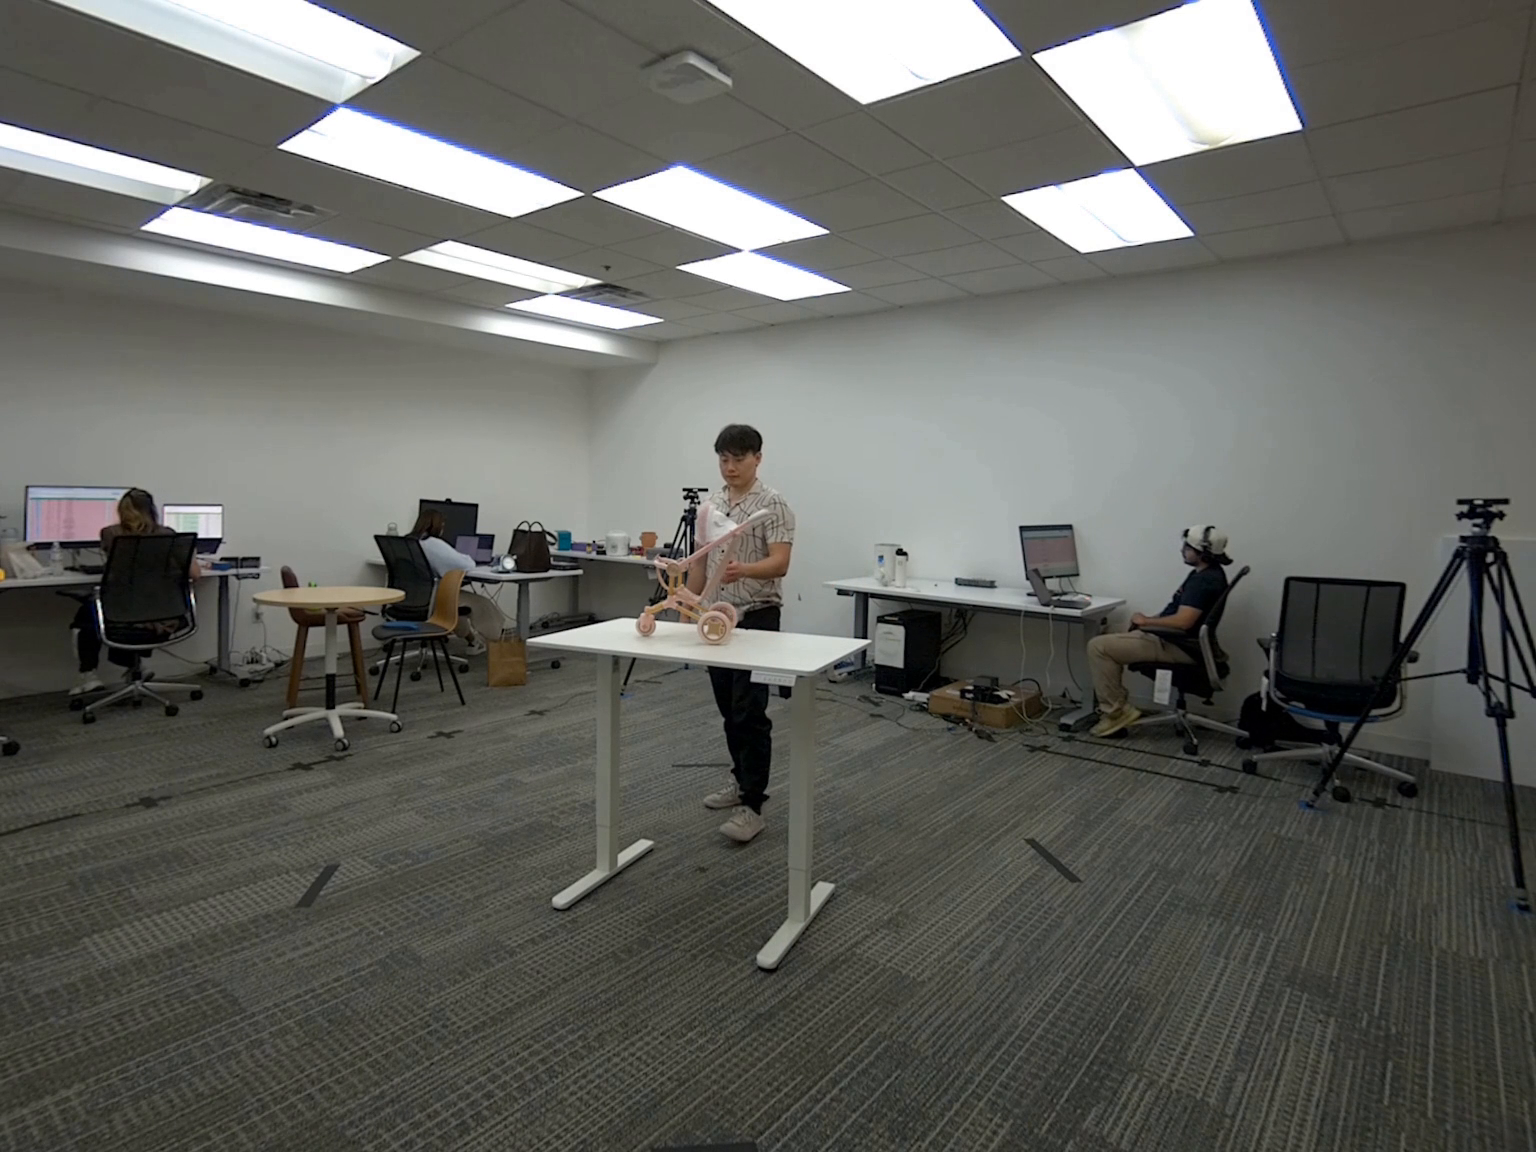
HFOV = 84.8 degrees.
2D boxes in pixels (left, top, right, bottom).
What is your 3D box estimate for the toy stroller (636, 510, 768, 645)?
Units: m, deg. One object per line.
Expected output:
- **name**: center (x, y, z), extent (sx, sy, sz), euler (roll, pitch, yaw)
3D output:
- **toy stroller**: center (-0.242, -0.016, 2.885), extent (0.346, 0.533, 0.279), euler (16, 5, 9)
